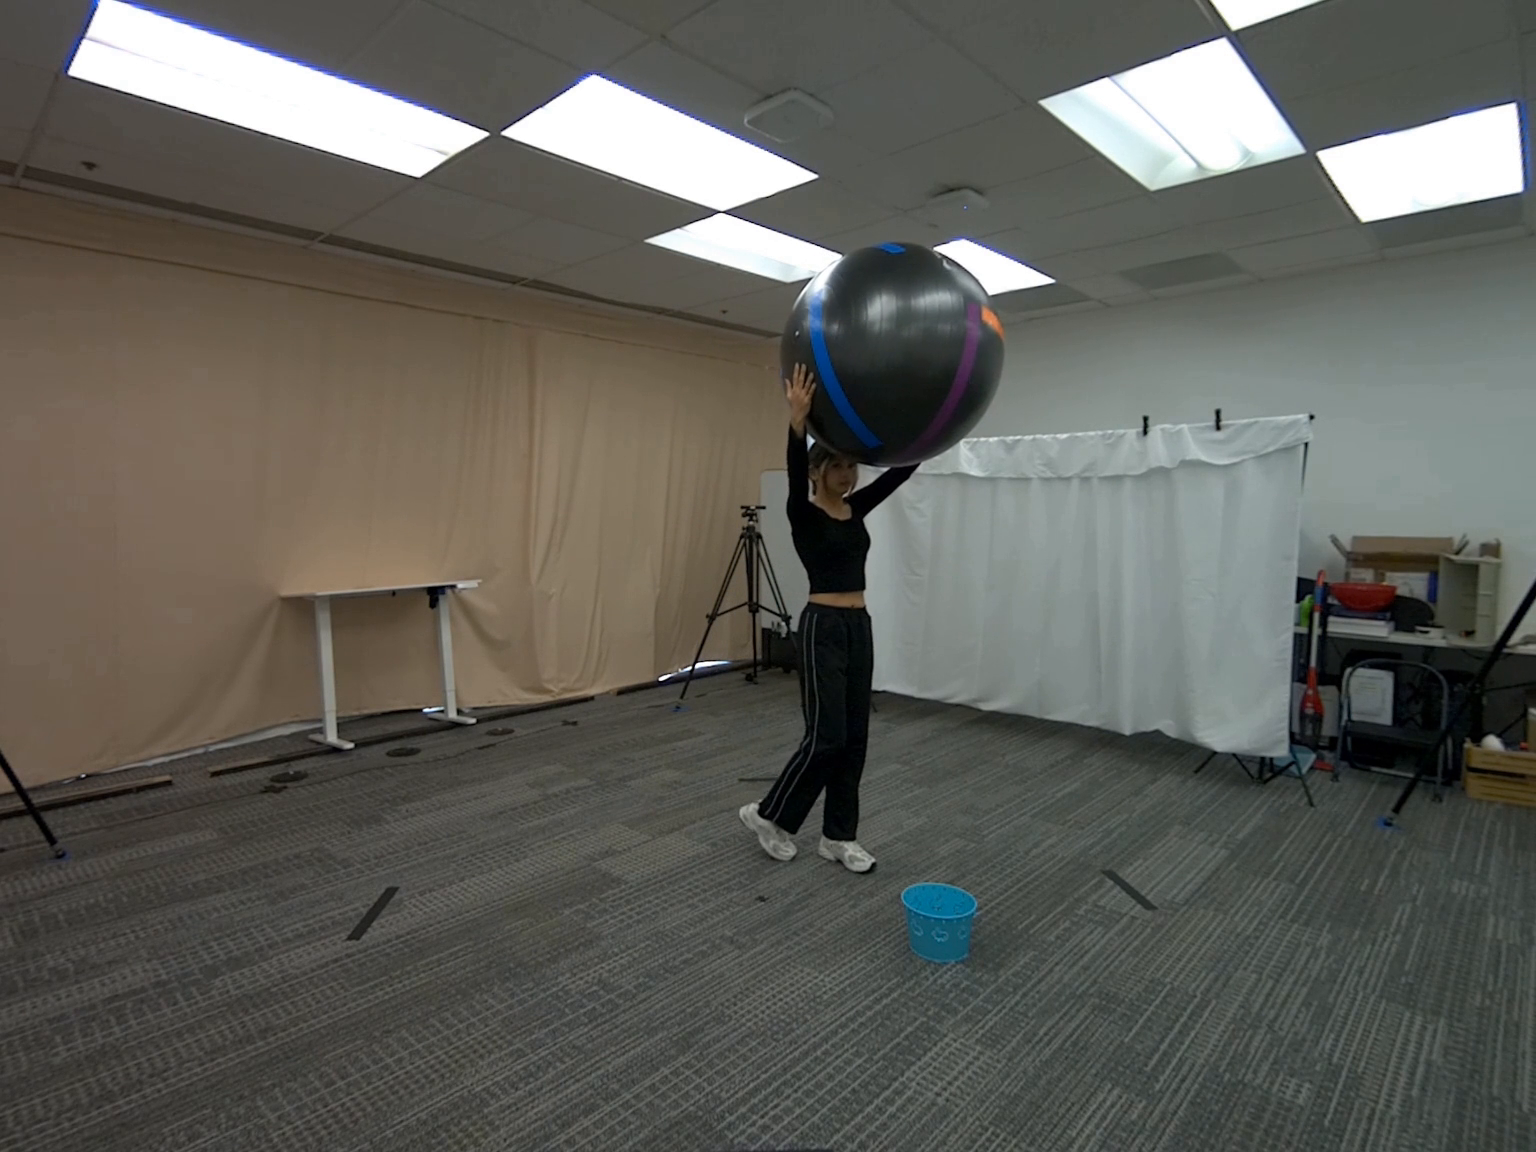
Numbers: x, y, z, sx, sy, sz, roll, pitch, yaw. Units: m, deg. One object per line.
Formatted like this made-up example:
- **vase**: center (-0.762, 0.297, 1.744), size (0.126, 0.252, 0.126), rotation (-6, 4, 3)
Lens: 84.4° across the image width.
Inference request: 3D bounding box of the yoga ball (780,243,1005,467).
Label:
- **yoga ball**: center (0.423, -0.750, 2.919), size (0.757, 0.756, 0.760), rotation (0, 4, -2)
